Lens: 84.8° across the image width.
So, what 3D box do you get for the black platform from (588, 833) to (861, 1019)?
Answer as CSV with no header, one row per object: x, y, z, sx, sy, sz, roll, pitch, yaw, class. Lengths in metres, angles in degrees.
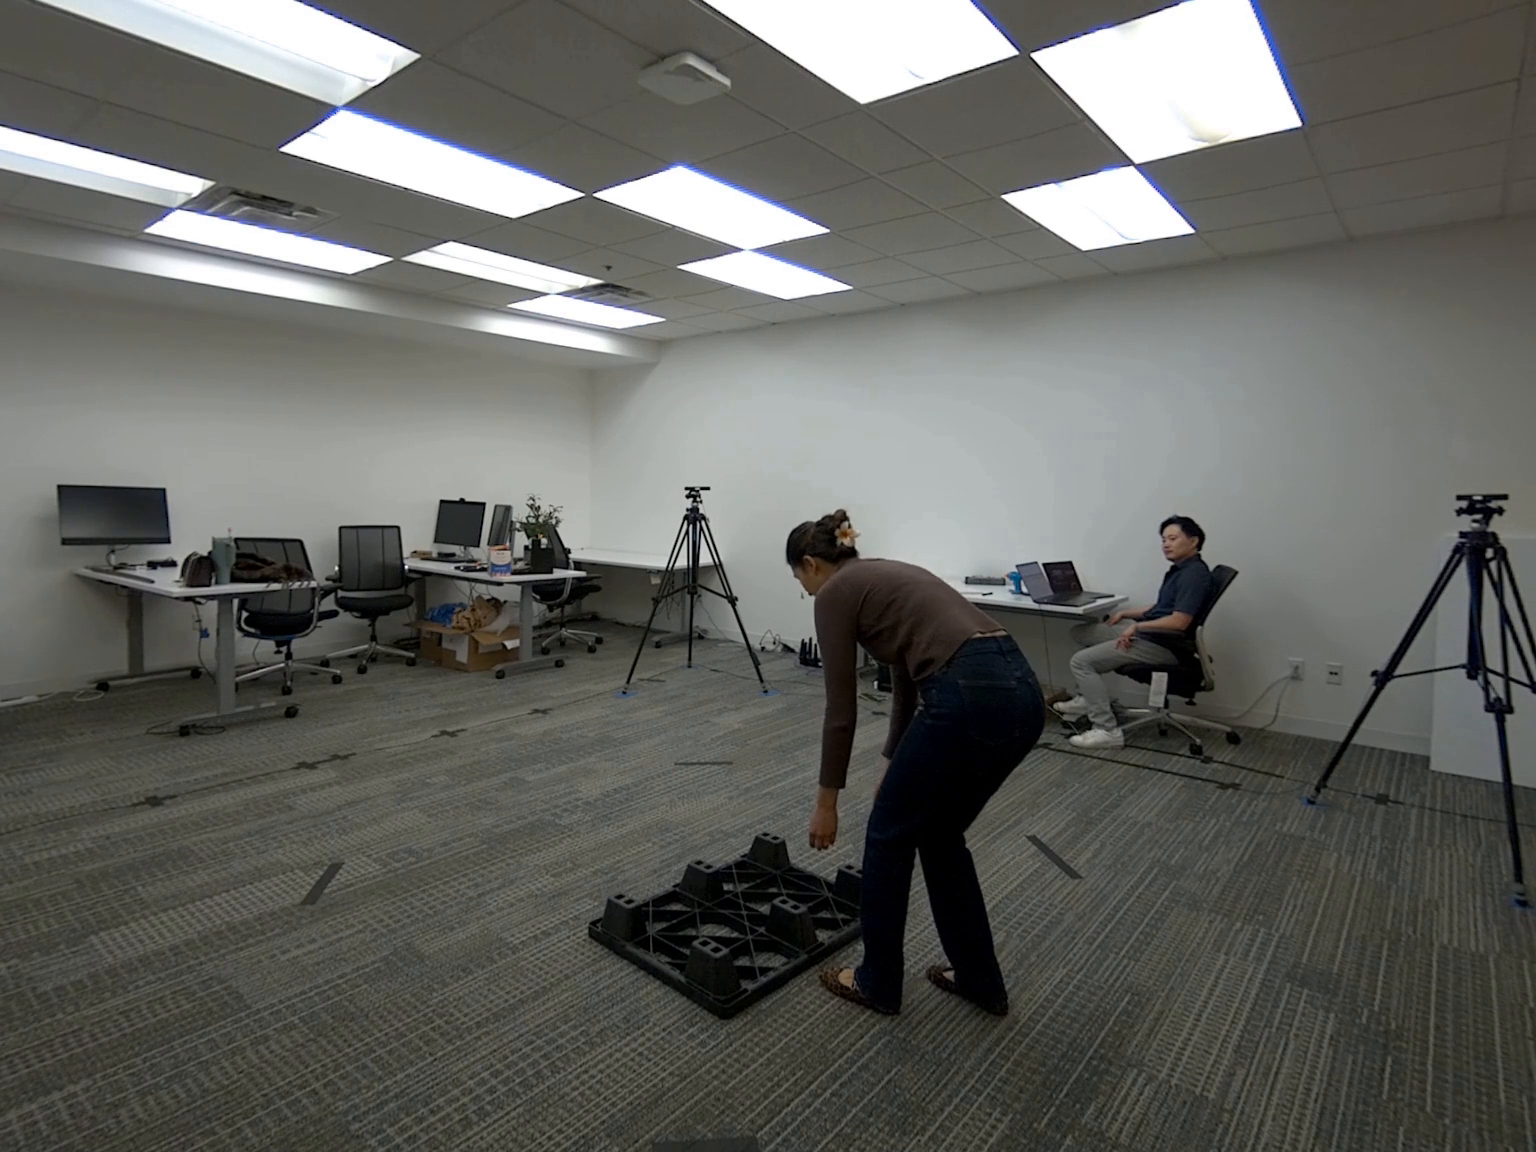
-0.085,1.042,2.706,0.626,0.143,0.781,7,8,42,black platform
